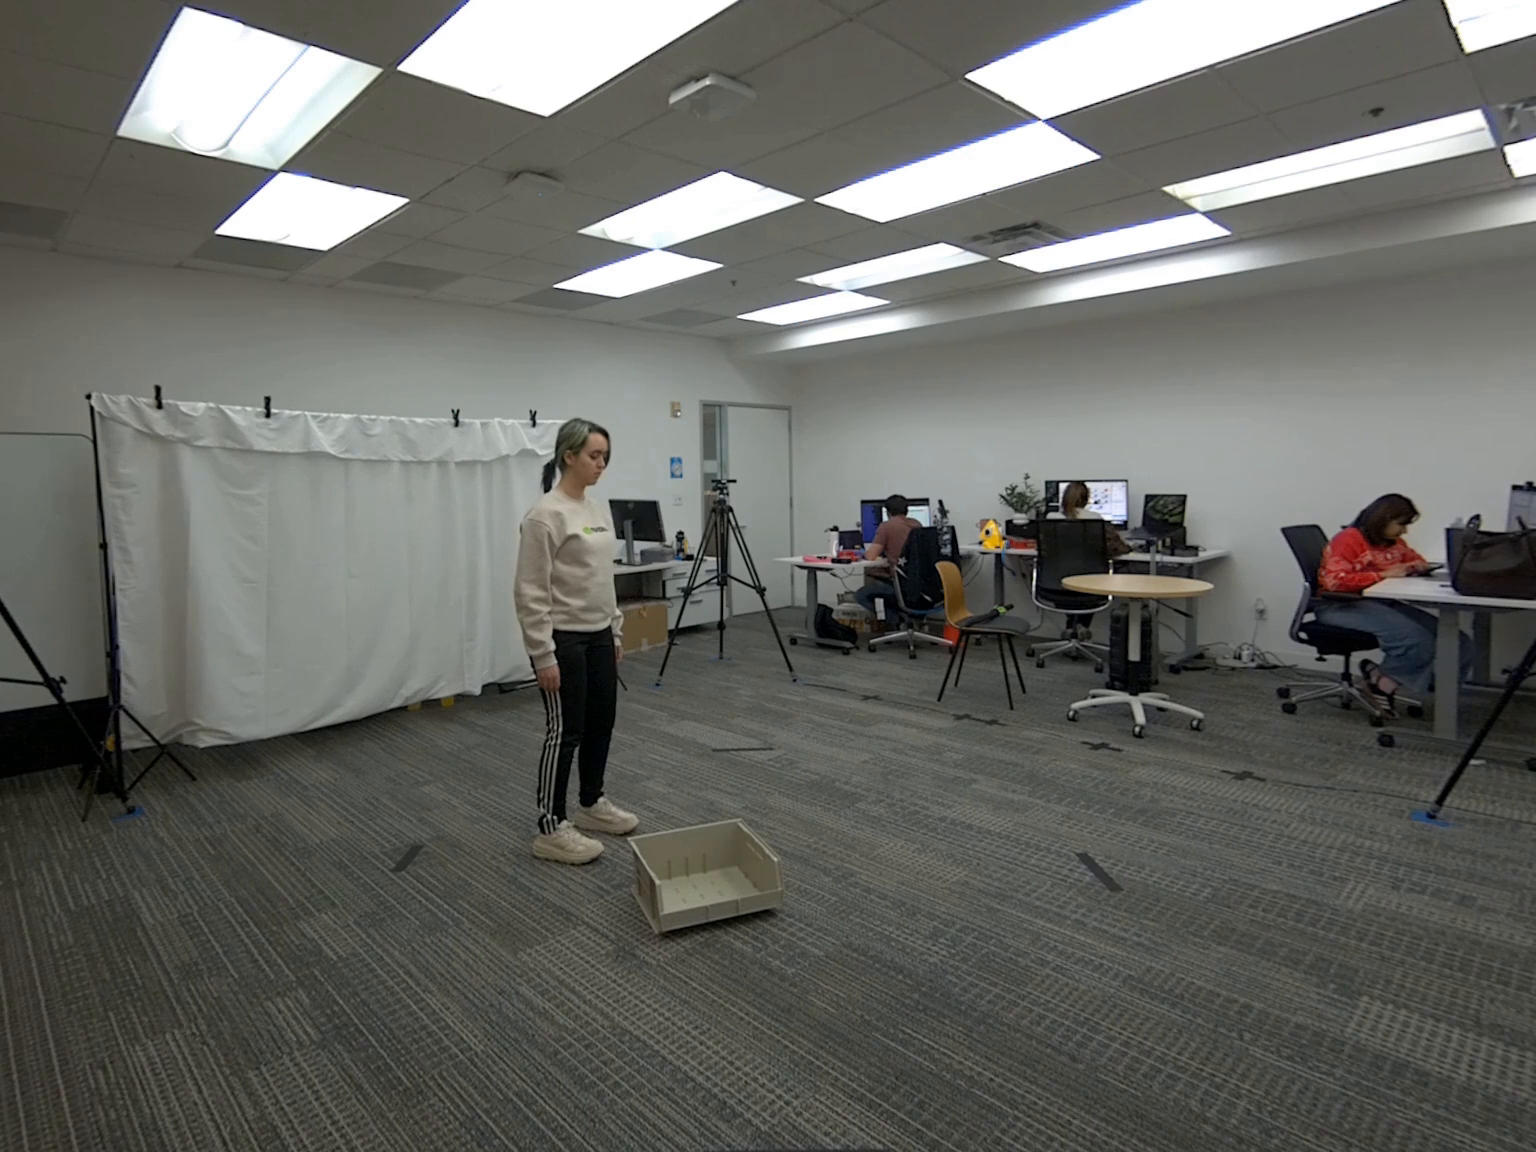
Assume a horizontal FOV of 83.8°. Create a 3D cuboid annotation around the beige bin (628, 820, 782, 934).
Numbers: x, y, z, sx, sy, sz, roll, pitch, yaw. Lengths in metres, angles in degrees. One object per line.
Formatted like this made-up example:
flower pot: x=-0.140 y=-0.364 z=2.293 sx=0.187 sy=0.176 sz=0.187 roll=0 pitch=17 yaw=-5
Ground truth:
beige bin: x=-0.210 y=0.995 z=2.824 sx=0.414 sy=0.188 sz=0.386 roll=-4 pitch=6 yaw=-22
